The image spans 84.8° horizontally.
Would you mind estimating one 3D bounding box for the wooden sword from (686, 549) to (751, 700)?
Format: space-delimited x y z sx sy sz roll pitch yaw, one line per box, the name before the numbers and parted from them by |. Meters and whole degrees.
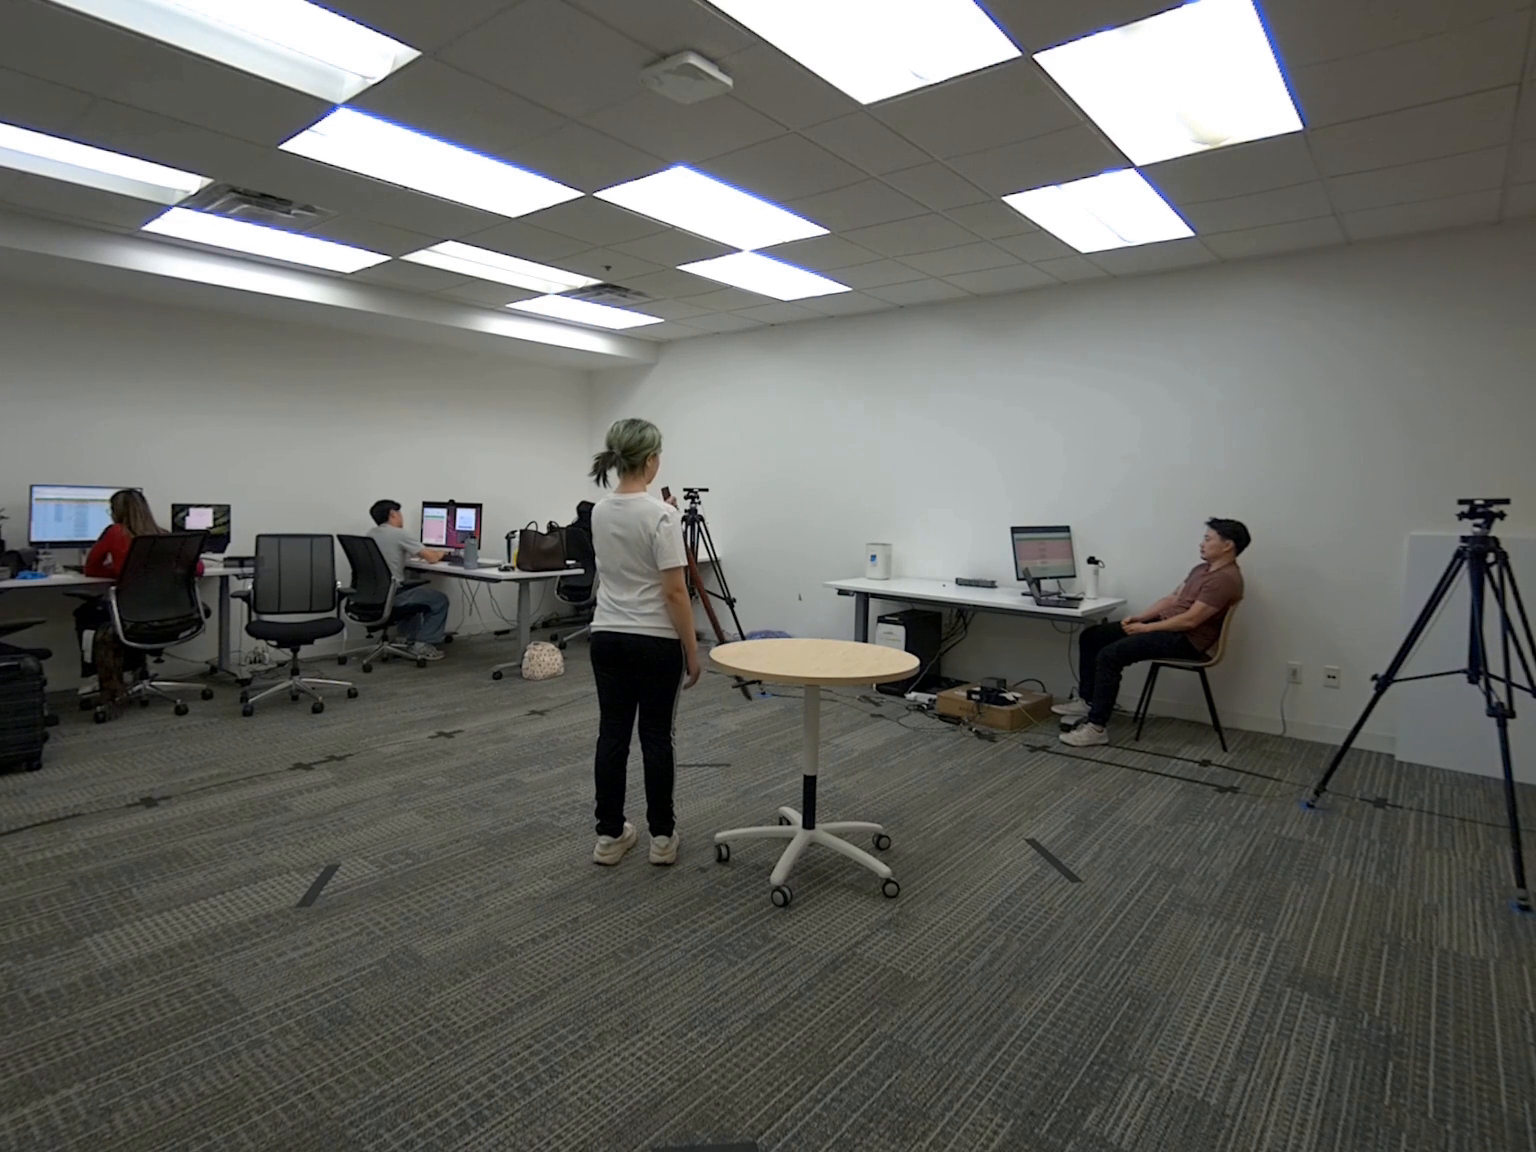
wooden sword | -0.269 0.097 3.642 0.024 1.009 0.051 -12 14 35
